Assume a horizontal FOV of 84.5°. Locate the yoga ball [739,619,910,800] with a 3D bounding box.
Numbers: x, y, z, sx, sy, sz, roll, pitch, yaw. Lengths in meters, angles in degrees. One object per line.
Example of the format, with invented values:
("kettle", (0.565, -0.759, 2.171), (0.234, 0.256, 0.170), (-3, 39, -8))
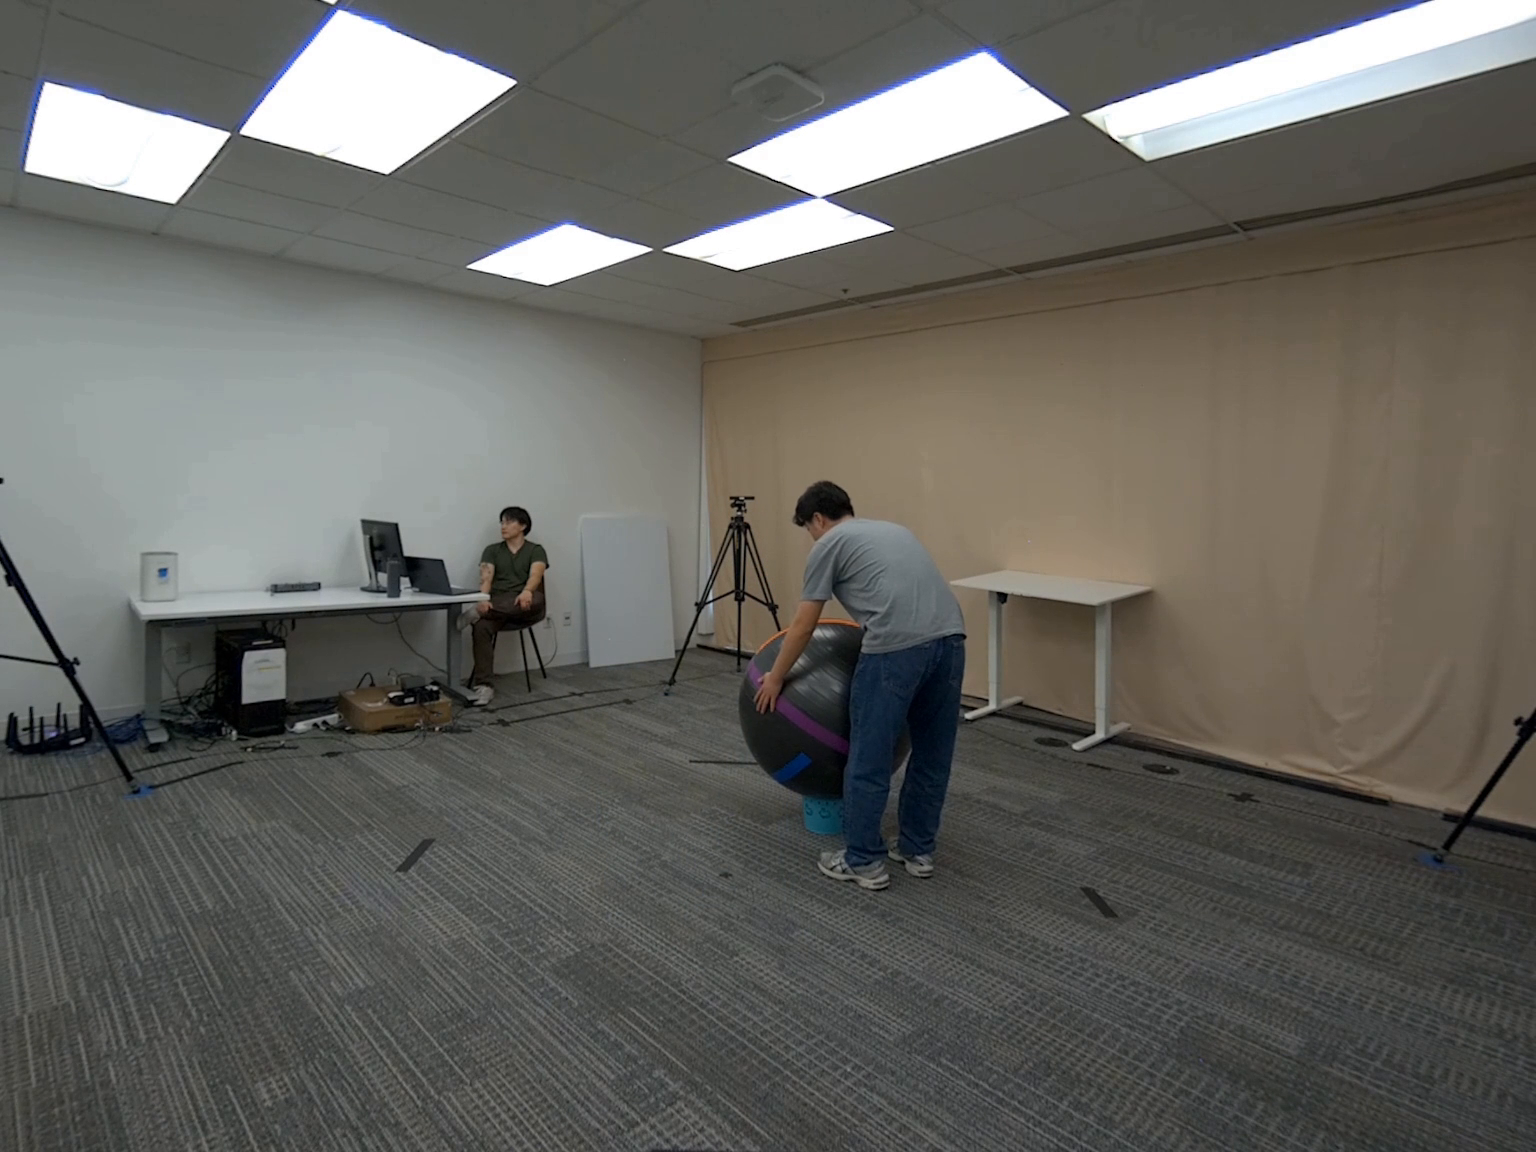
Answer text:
("yoga ball", (0.250, 0.560, 3.605), (0.757, 0.756, 0.761), (1, 4, -1))
